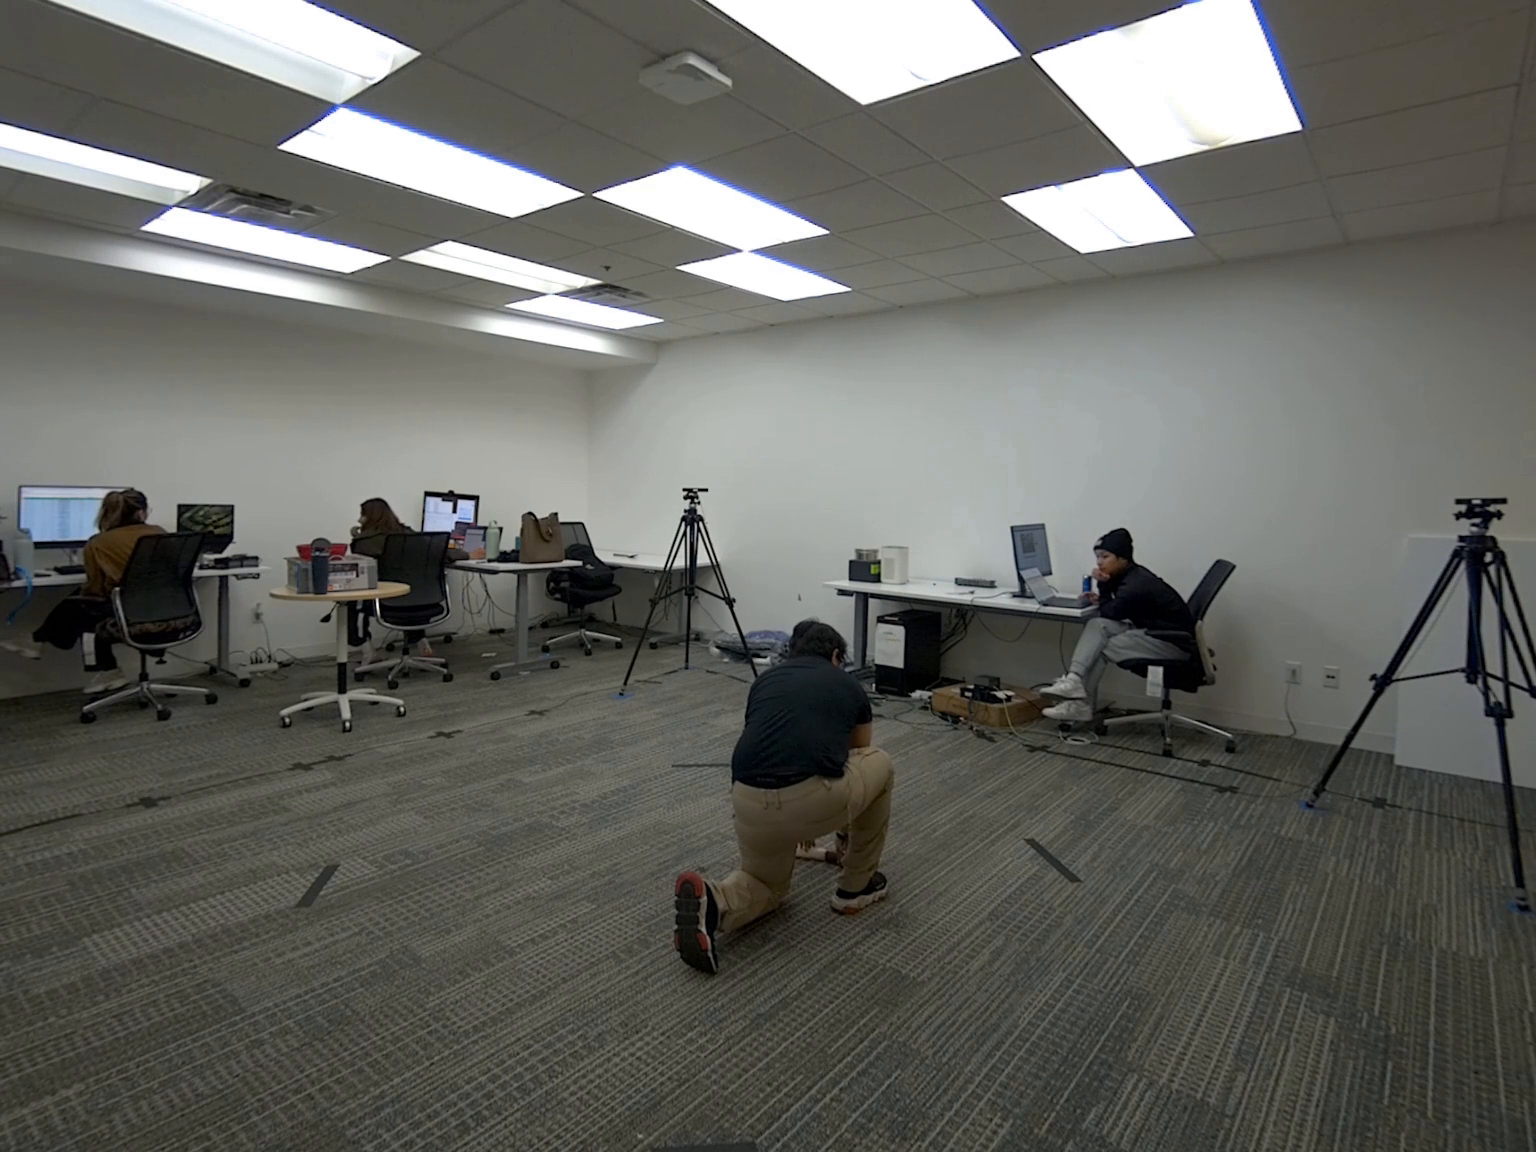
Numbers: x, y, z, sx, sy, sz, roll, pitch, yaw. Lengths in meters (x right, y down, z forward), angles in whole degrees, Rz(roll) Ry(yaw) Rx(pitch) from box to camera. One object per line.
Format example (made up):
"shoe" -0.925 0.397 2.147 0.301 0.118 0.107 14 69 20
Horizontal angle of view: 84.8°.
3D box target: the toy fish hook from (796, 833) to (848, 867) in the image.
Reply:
"toy fish hook" 0.188 1.041 3.269 0.521 0.048 0.219 5 7 27
